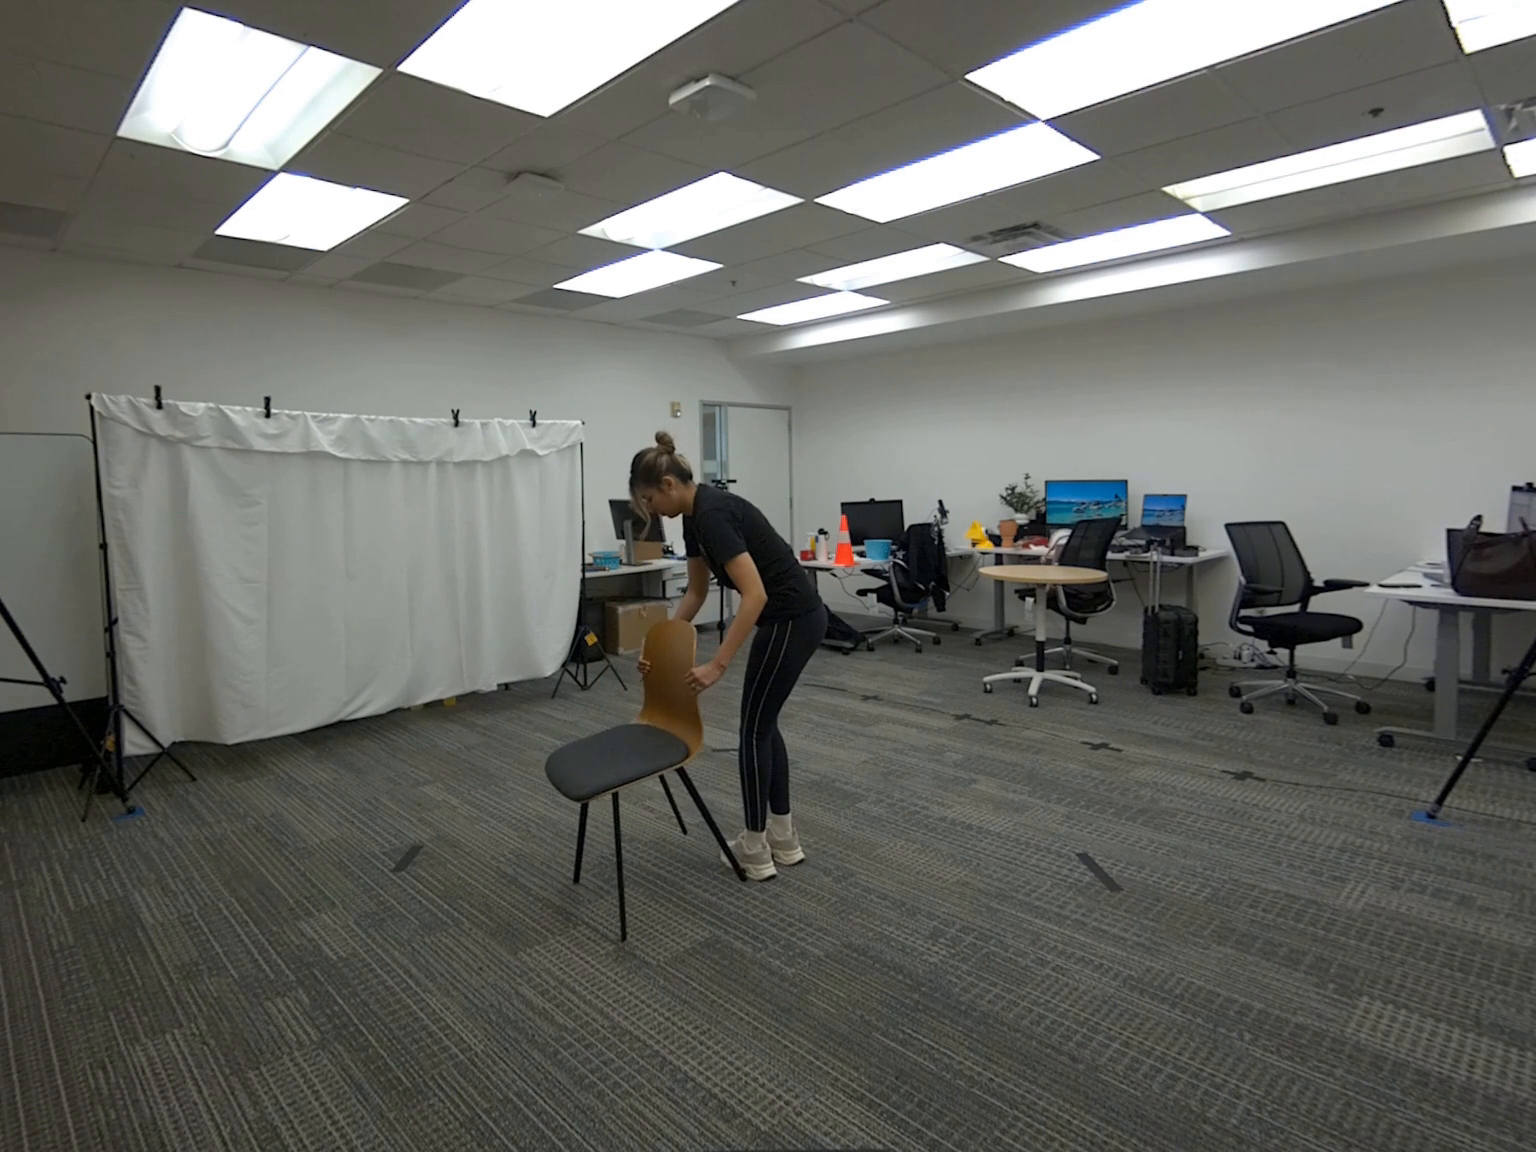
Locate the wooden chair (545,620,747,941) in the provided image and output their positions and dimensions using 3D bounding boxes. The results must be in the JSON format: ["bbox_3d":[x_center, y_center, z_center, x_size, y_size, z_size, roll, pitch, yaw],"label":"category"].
[{"bbox_3d":[-0.450,0.629,2.824,0.512,0.871,0.491,-10,8,-29],"label":"wooden chair"}]
